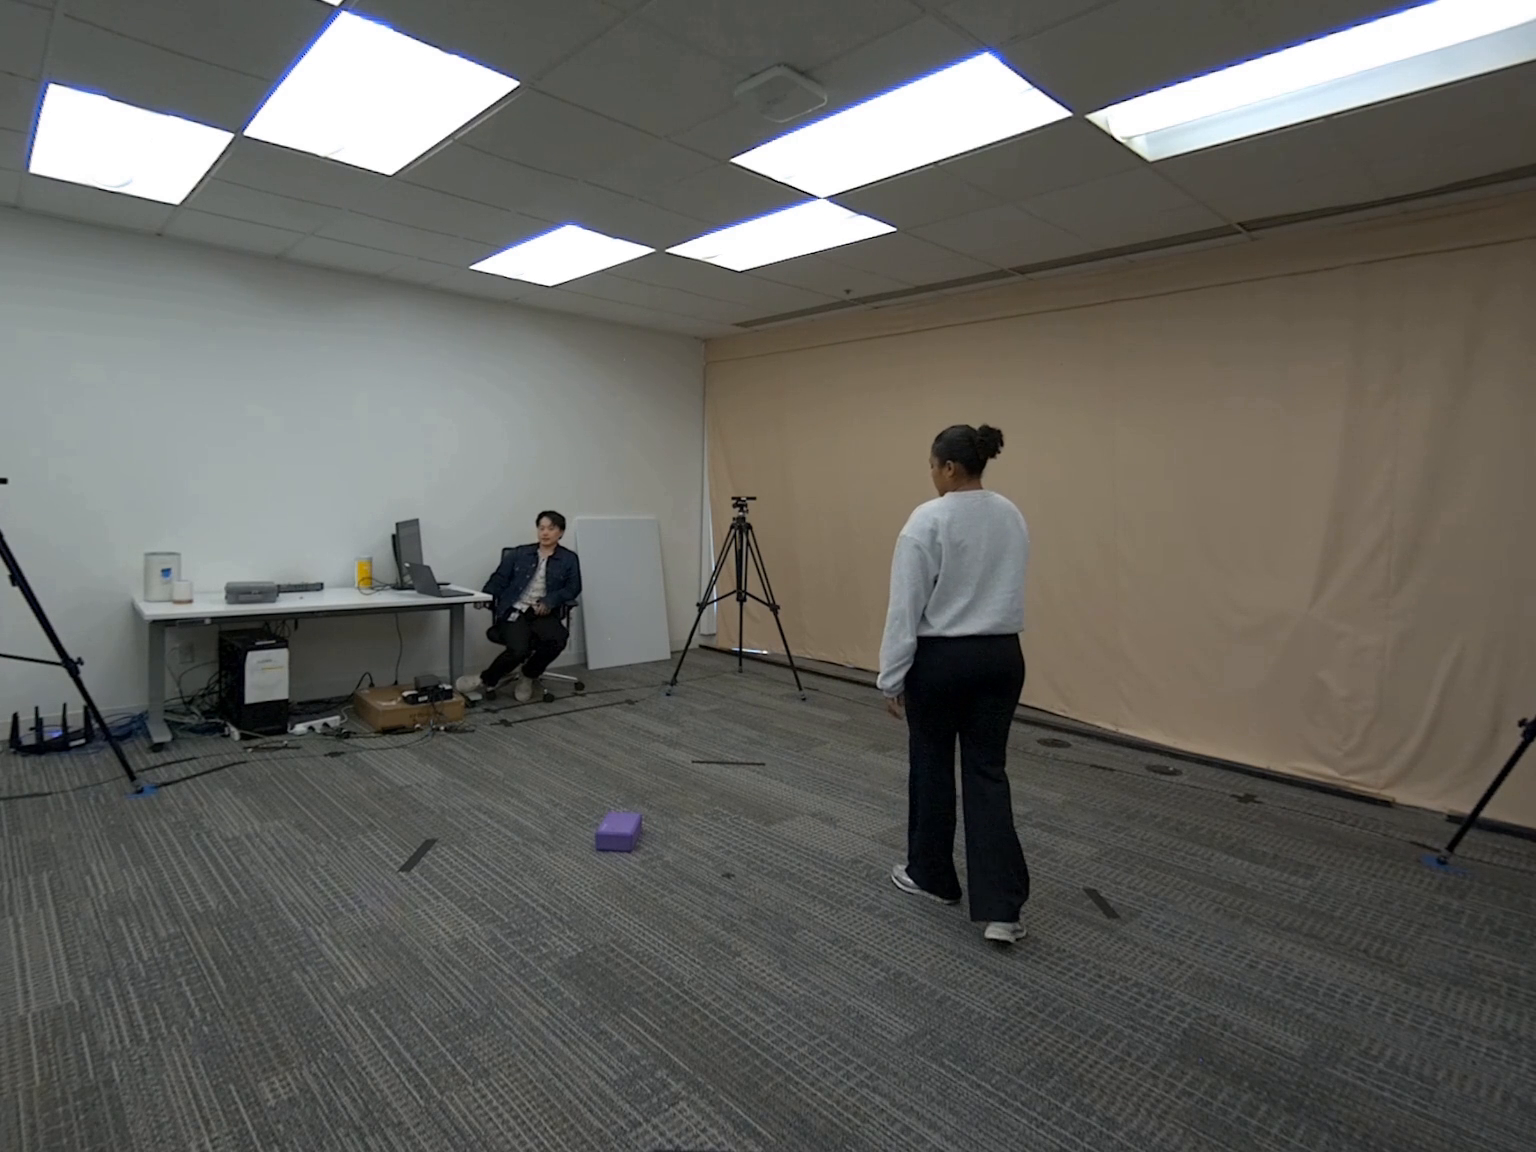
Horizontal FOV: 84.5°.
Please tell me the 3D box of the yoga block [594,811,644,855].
[{"bbox_3d":[-0.609,1.029,3.398,0.149,0.076,0.229,3,5,3],"label":"yoga block"}]
